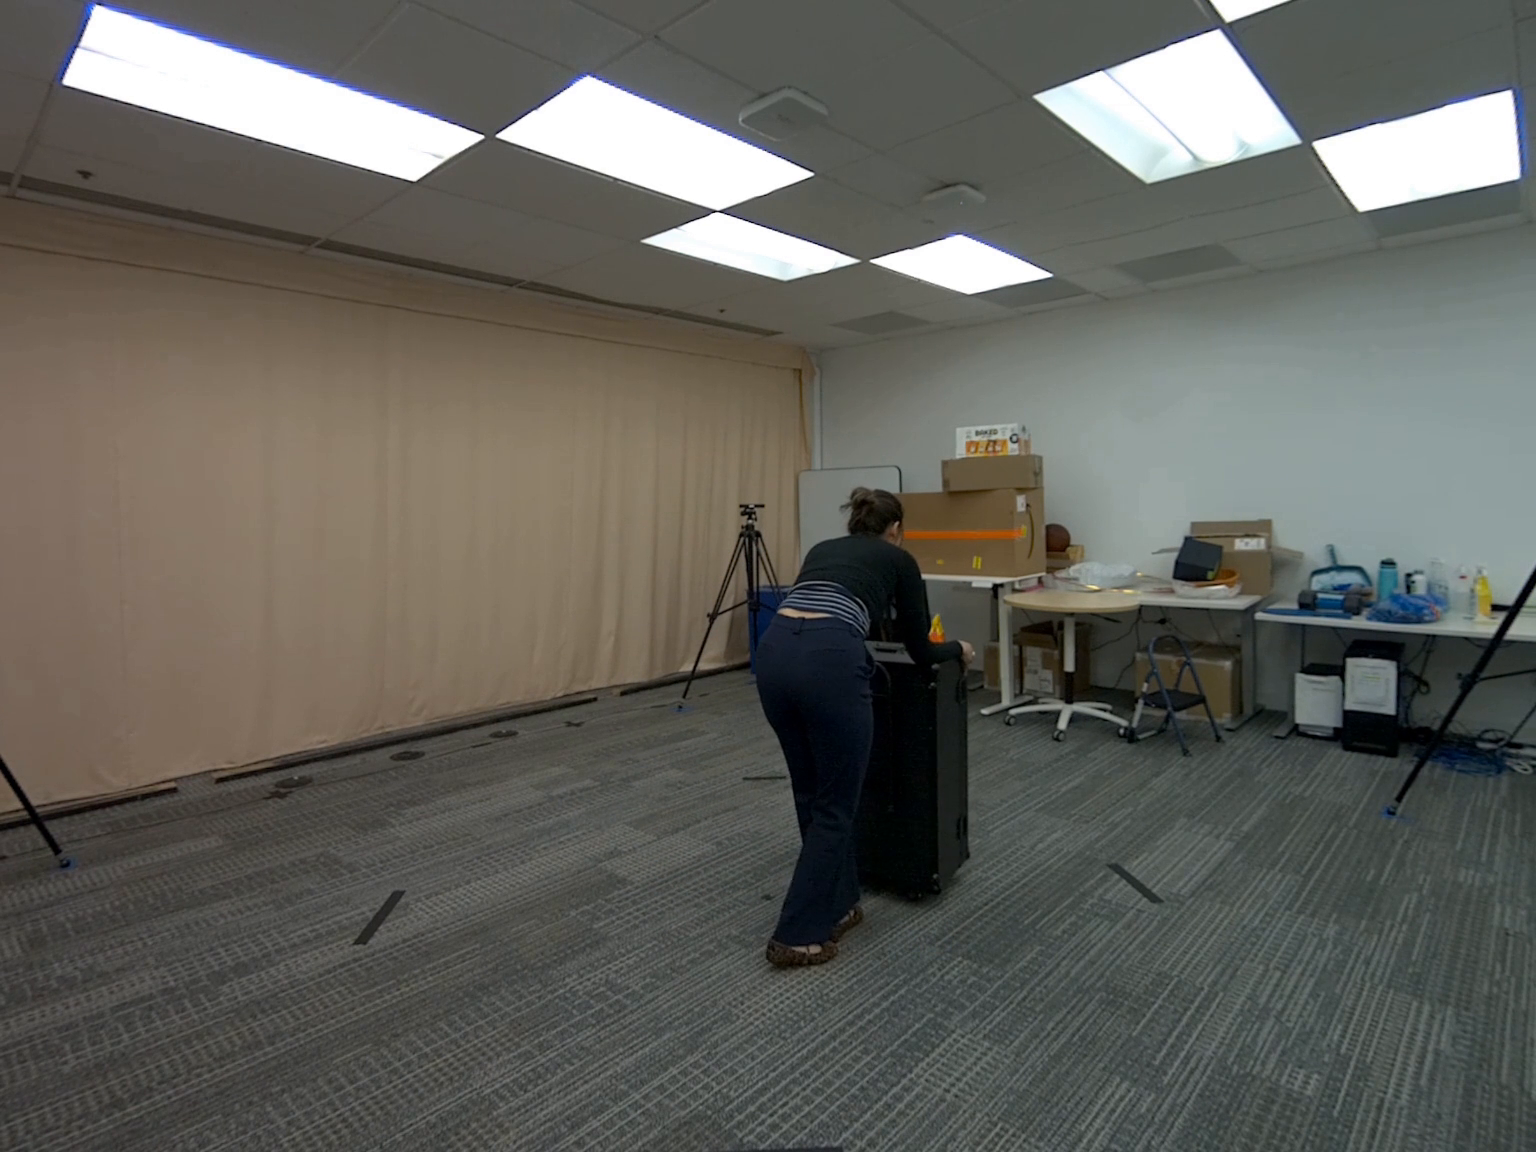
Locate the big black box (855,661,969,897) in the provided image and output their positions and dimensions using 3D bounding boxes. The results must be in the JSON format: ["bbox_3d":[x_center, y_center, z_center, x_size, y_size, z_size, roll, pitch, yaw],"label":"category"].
[{"bbox_3d":[0.448,0.698,3.071,0.537,0.858,0.386,1,6,31],"label":"big black box"}]
